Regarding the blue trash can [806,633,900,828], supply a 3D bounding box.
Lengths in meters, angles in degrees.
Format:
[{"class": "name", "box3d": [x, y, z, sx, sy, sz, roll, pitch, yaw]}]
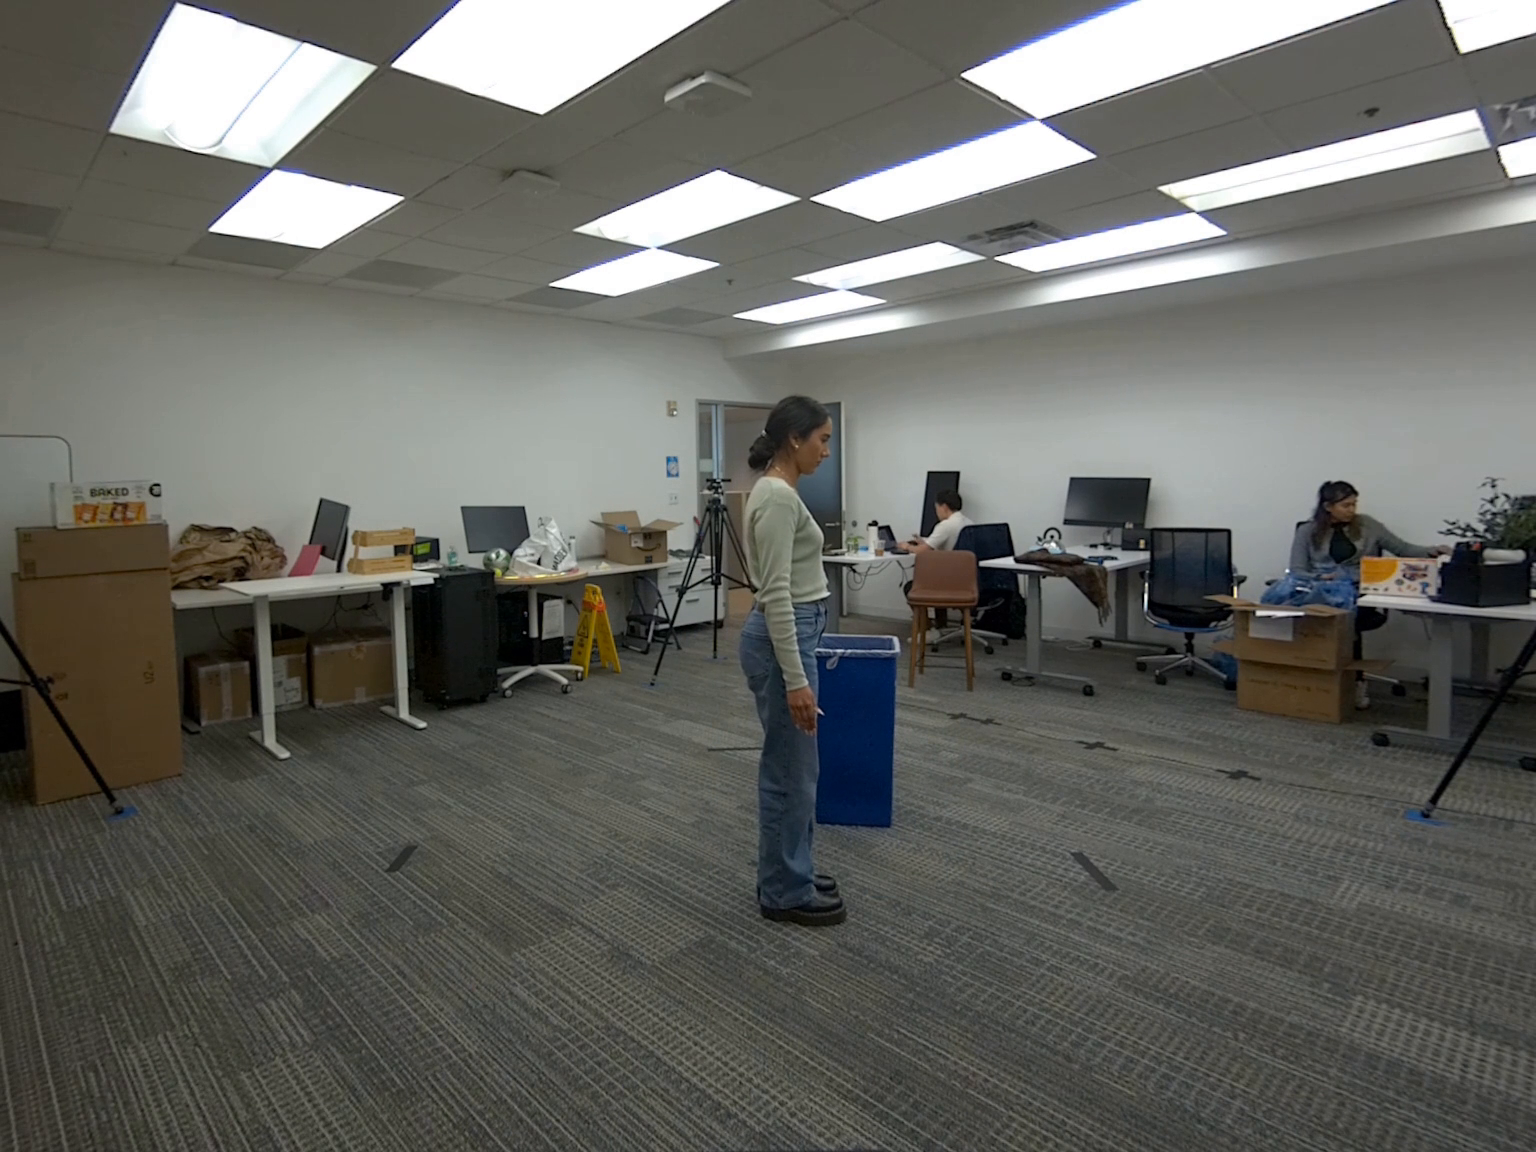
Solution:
[{"class": "blue trash can", "box3d": [0.373, 0.630, 3.558, 0.377, 0.711, 0.376, 0, 3, 9]}]
